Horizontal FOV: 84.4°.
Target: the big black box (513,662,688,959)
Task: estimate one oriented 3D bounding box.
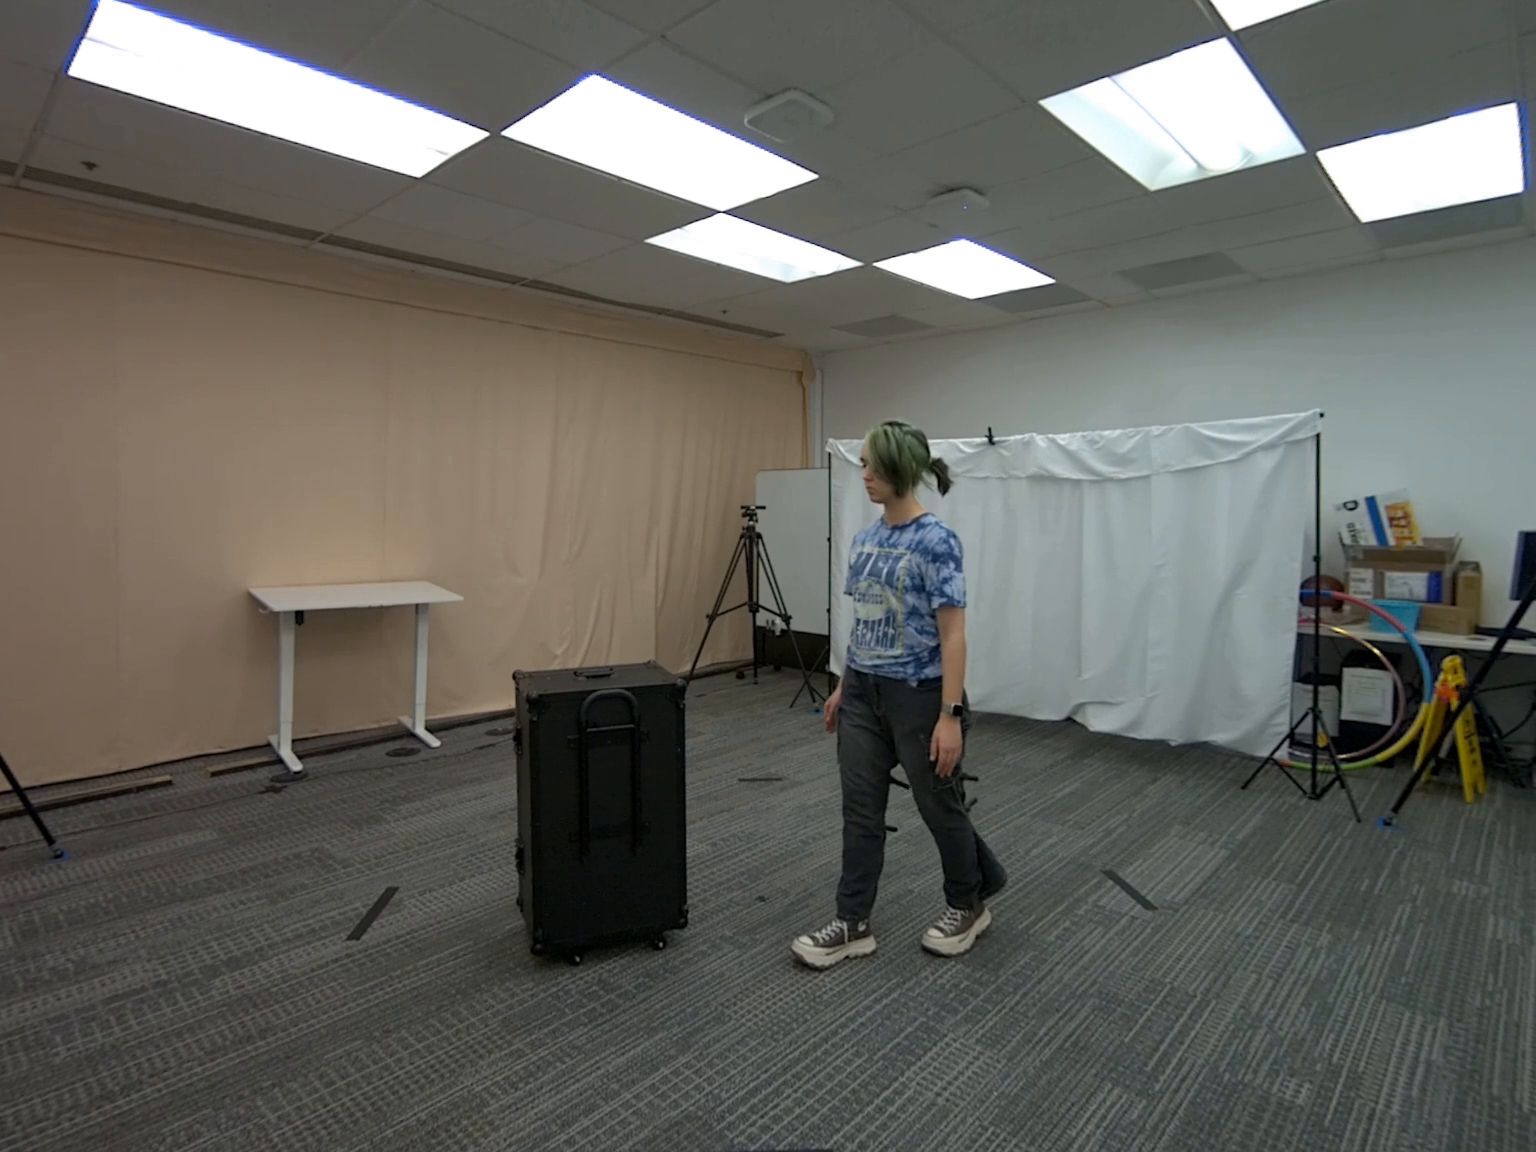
[{"bbox_3d":[-0.539,0.753,2.710,0.511,0.859,0.405,-2,4,-19],"label":"big black box"}]
